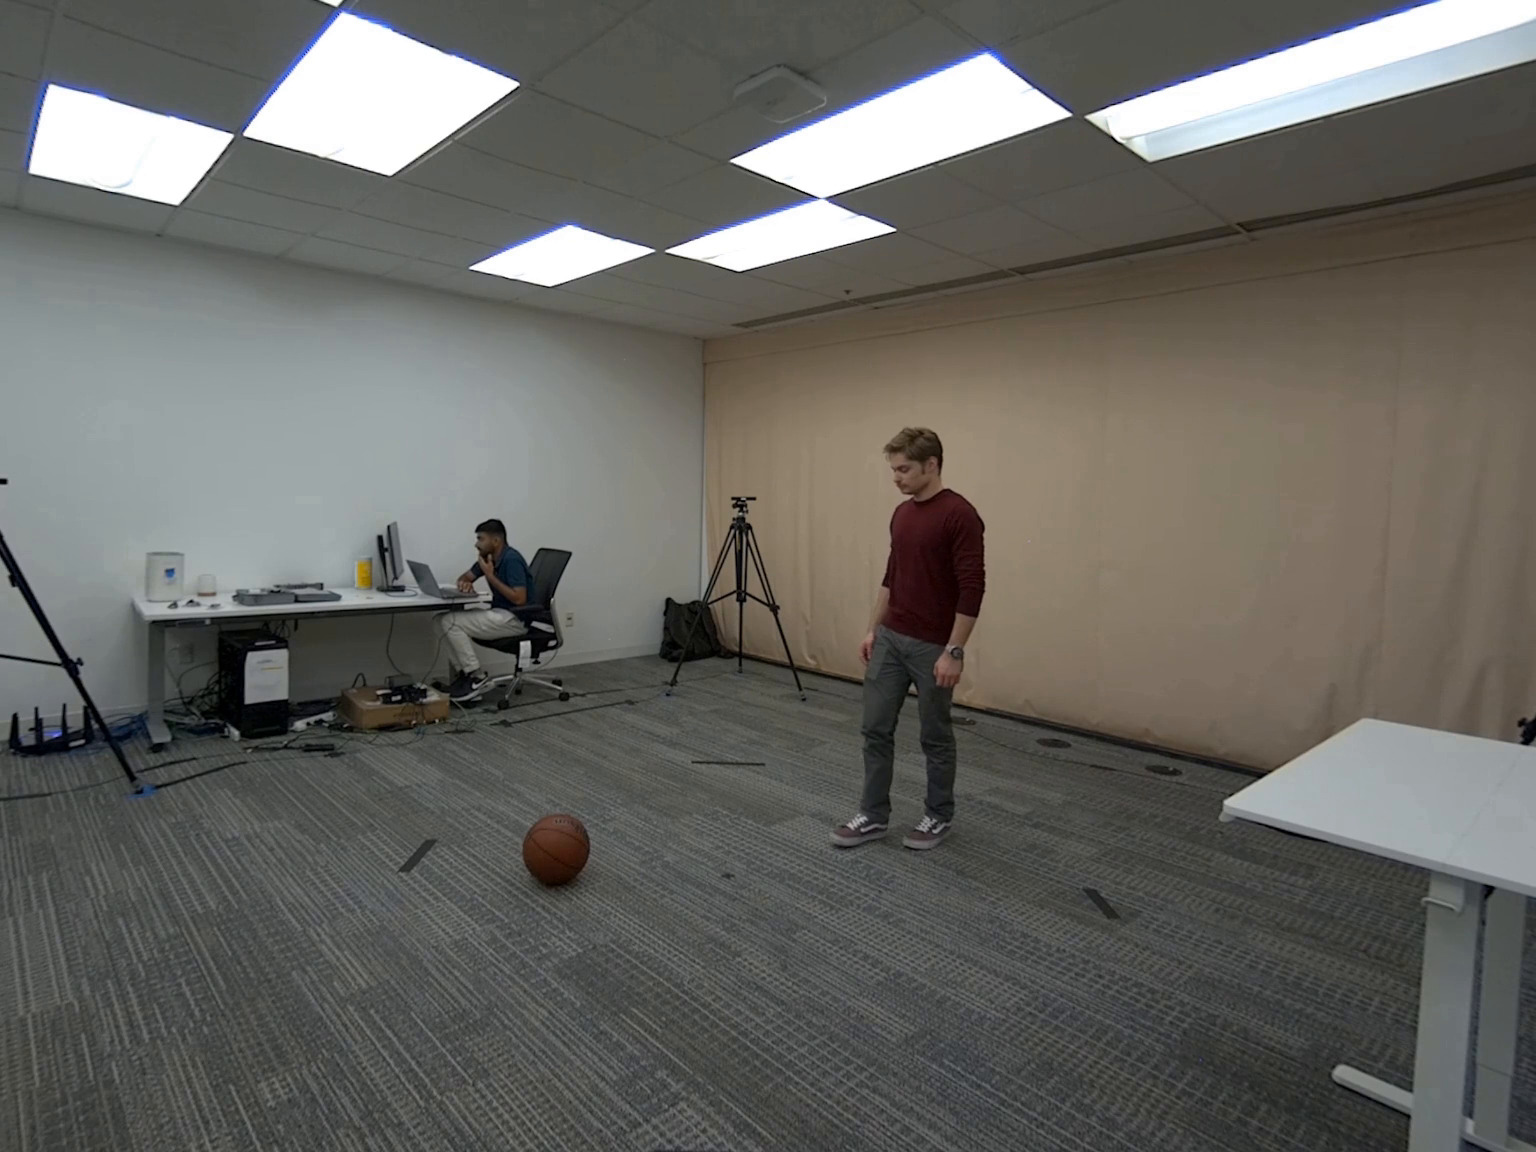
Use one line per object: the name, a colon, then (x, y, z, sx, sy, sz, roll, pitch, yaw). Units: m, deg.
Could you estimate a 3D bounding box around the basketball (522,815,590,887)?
basketball: (-0.767, 0.980, 3.028, 0.236, 0.235, 0.237, 1, 4, -1)
